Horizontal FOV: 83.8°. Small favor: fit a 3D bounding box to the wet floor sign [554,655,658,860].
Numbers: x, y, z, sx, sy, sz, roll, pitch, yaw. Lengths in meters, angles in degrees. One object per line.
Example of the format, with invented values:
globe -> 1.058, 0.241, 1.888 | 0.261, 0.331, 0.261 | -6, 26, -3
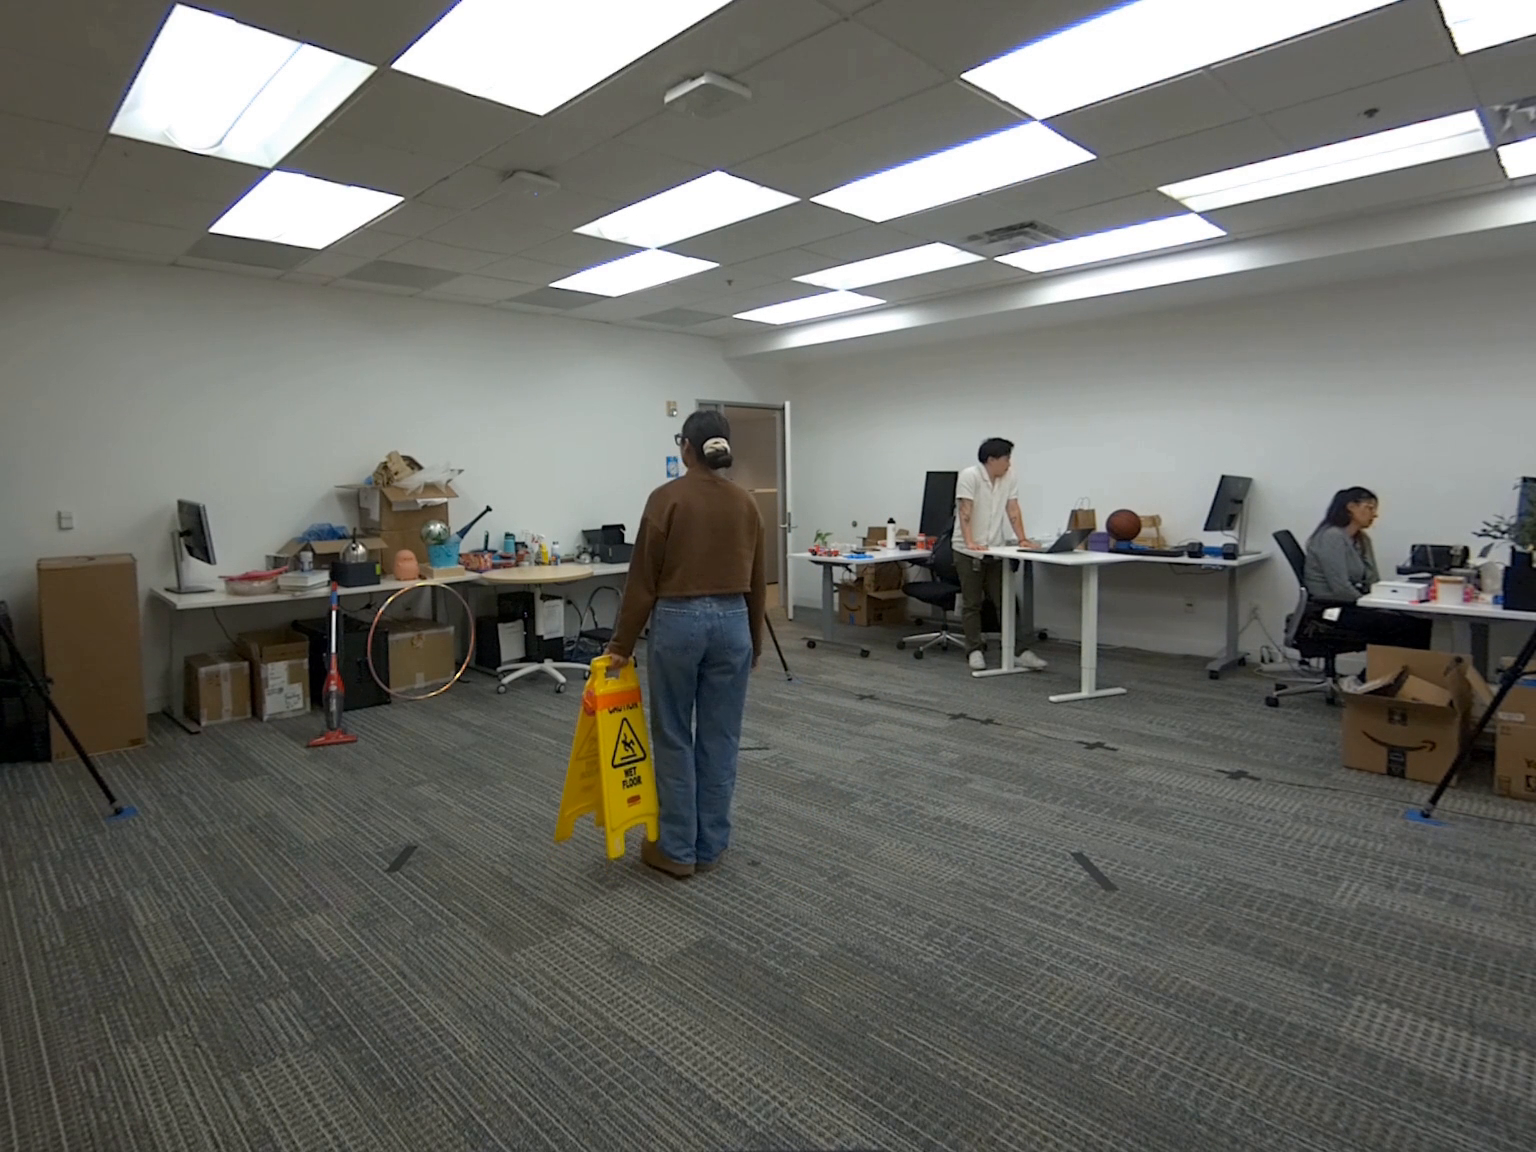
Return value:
wet floor sign -> -0.550, 0.608, 3.007 | 0.298, 0.646, 0.274 | 2, 1, 34
